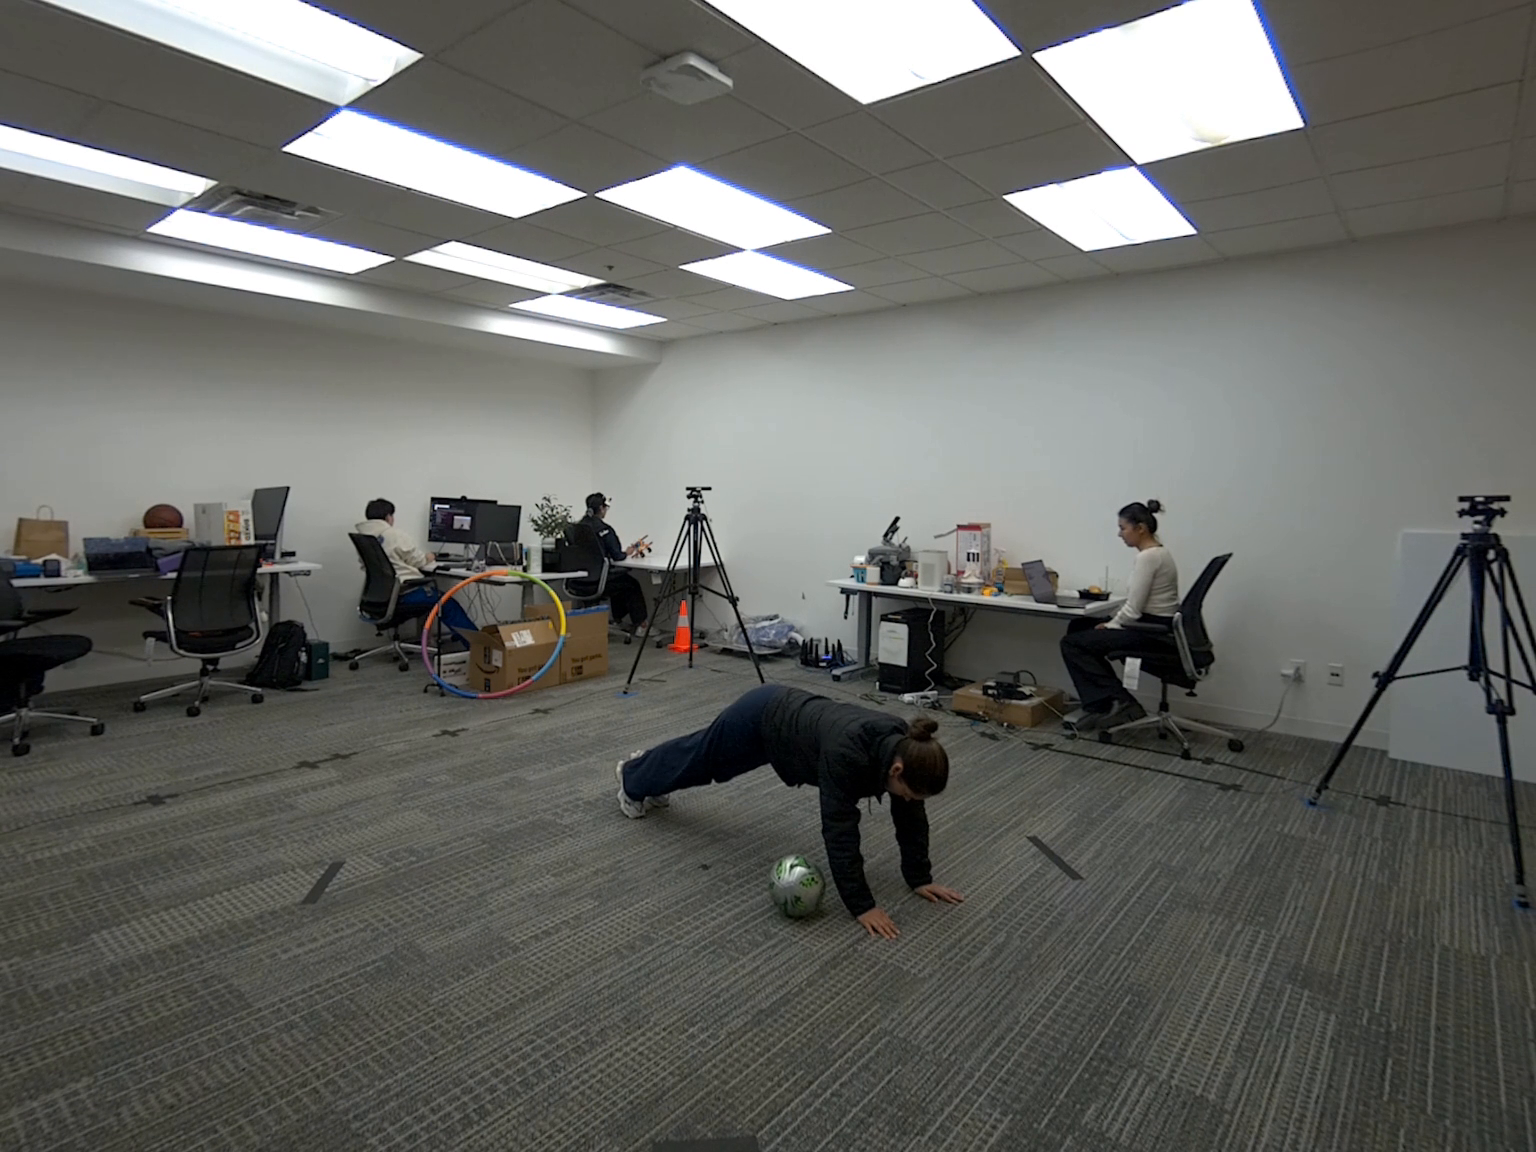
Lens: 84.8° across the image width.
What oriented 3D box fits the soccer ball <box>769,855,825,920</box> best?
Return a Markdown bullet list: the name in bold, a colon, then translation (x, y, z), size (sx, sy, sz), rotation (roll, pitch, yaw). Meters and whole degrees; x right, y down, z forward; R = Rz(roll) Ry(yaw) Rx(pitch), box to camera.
- **soccer ball**: translation (0.086, 1.012, 2.794), size (0.187, 0.187, 0.188), rotation (1, 4, -2)
